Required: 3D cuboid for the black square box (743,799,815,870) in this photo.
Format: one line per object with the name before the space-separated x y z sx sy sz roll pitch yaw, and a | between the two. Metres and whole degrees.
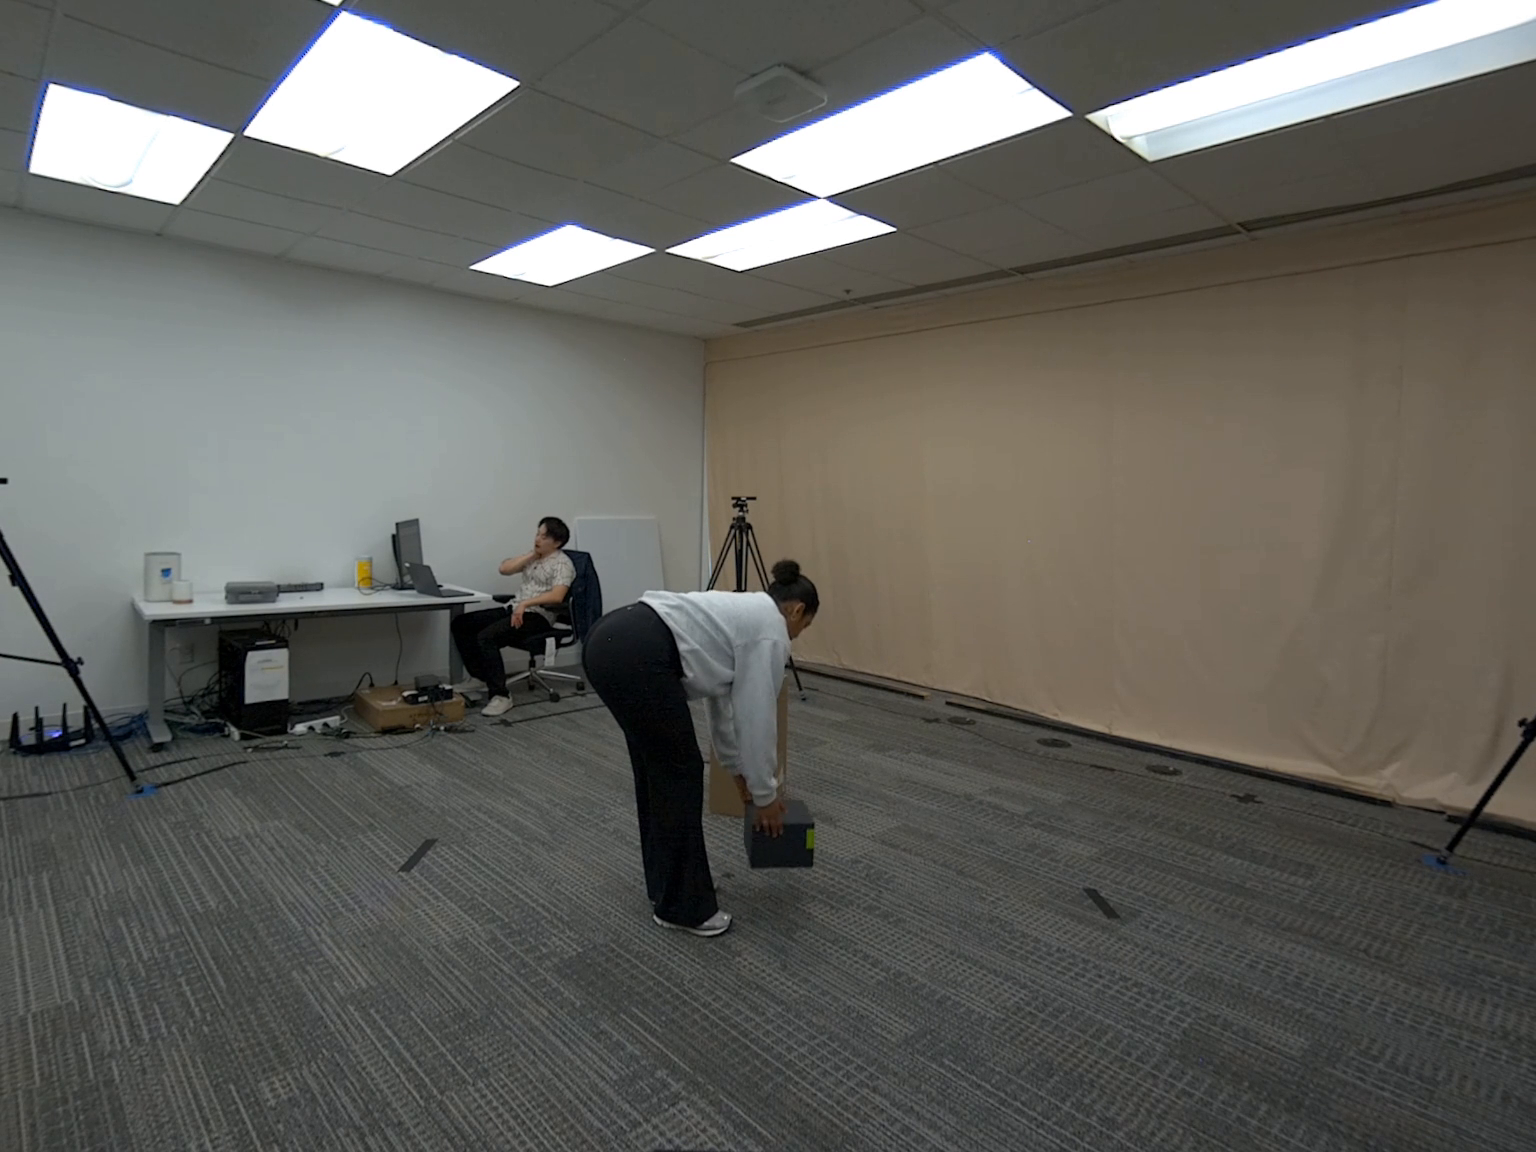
black square box | 0.034 0.882 2.948 0.216 0.155 0.230 0 4 -7
